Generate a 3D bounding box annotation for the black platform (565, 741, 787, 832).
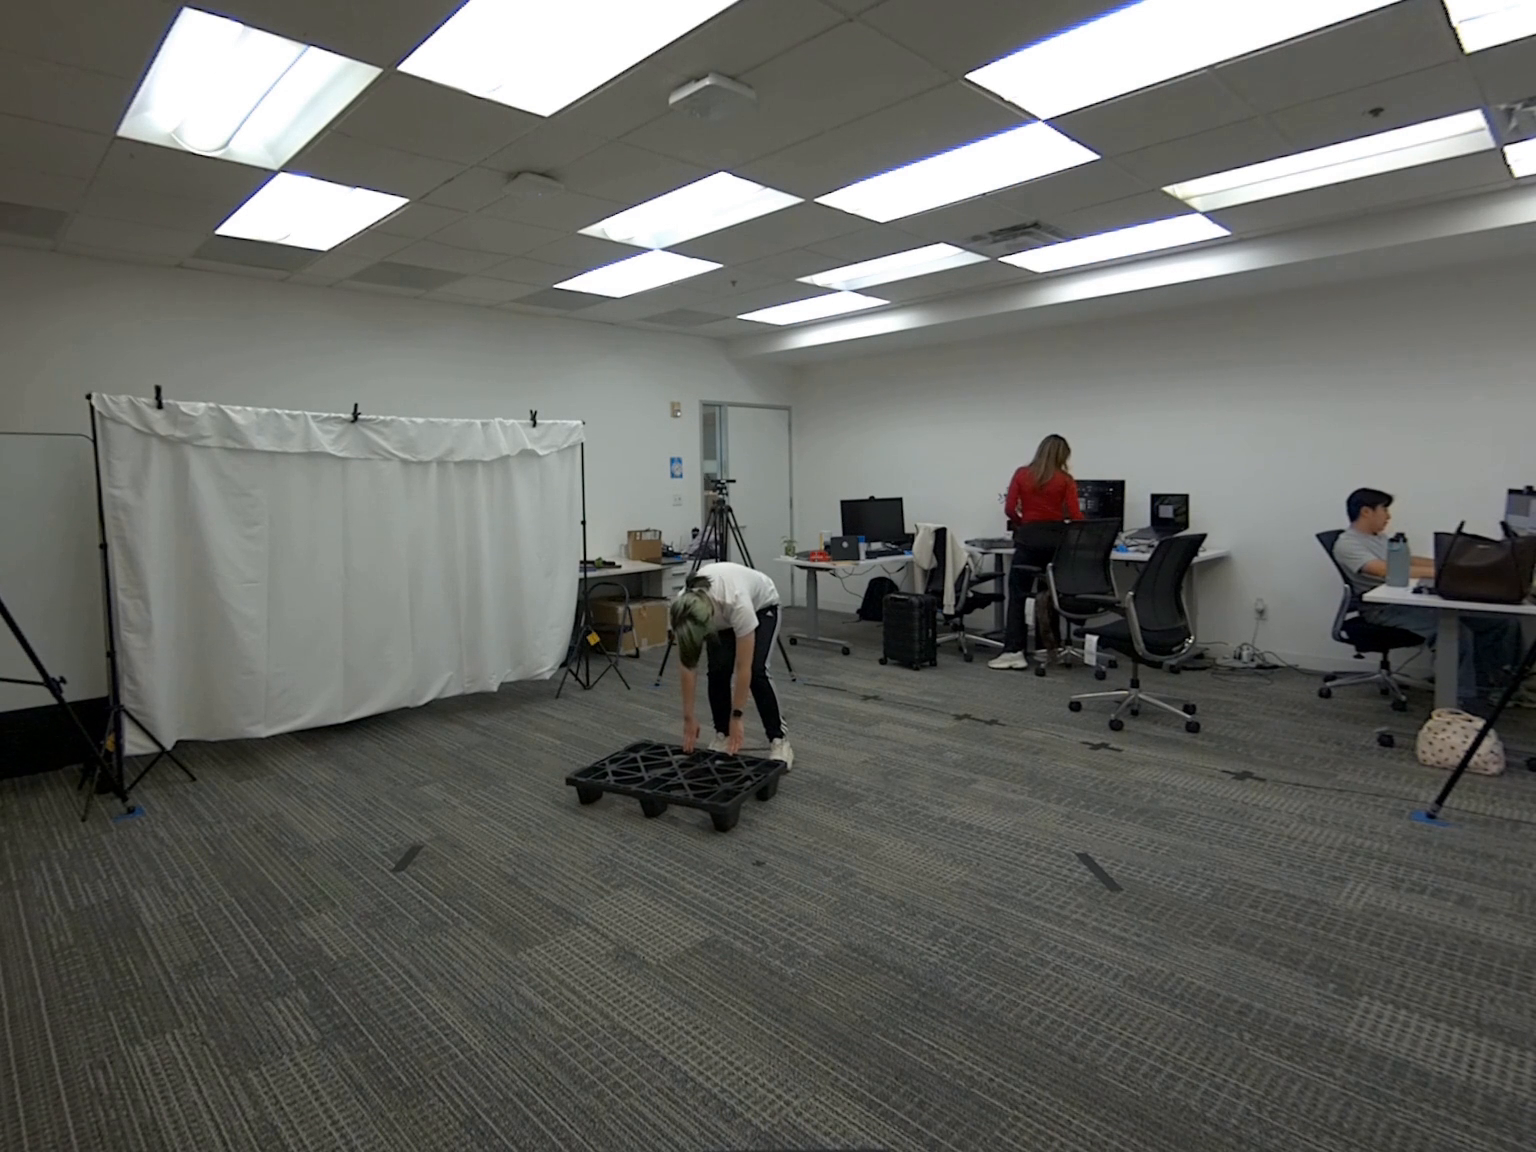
[{"bbox_3d":[-0.396,0.914,3.765,0.826,0.143,0.592,2,6,28],"label":"black platform"}]
